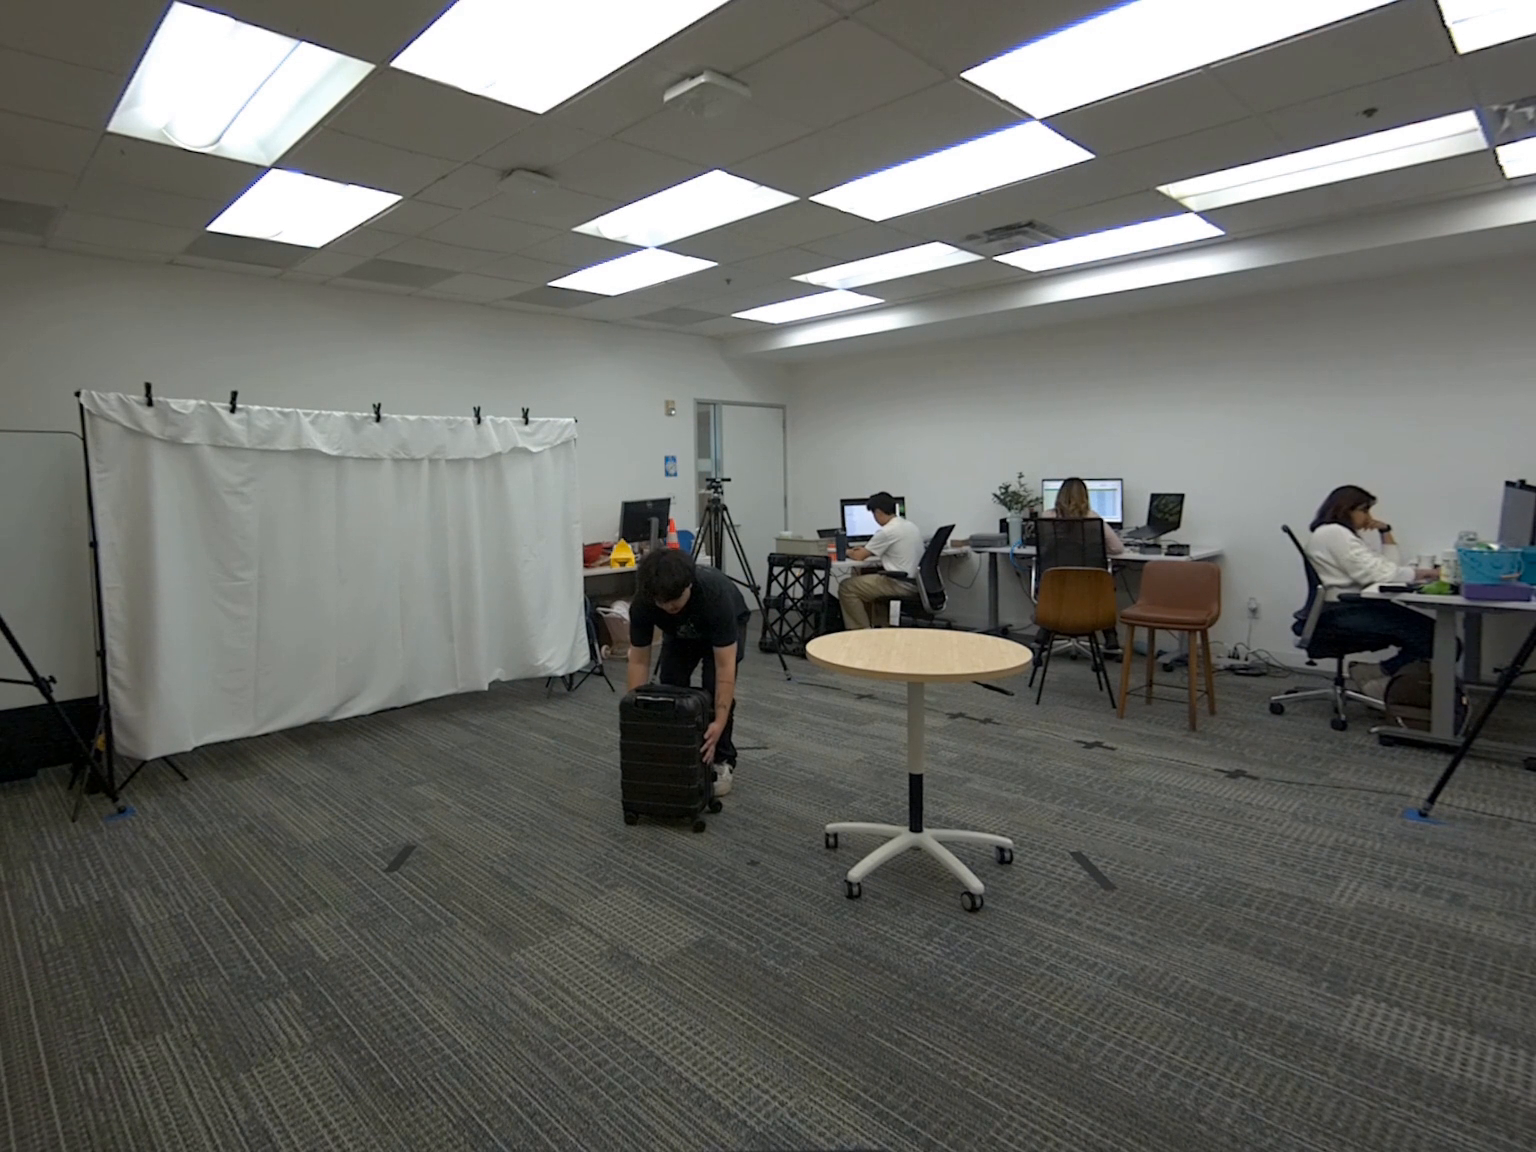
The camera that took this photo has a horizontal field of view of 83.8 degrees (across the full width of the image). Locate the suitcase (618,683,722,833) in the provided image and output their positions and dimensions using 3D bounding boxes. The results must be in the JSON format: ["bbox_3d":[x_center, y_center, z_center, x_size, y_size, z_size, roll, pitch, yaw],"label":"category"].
[{"bbox_3d":[-0.423,0.738,3.527,0.382,0.547,0.245,-4,4,19],"label":"suitcase"}]
